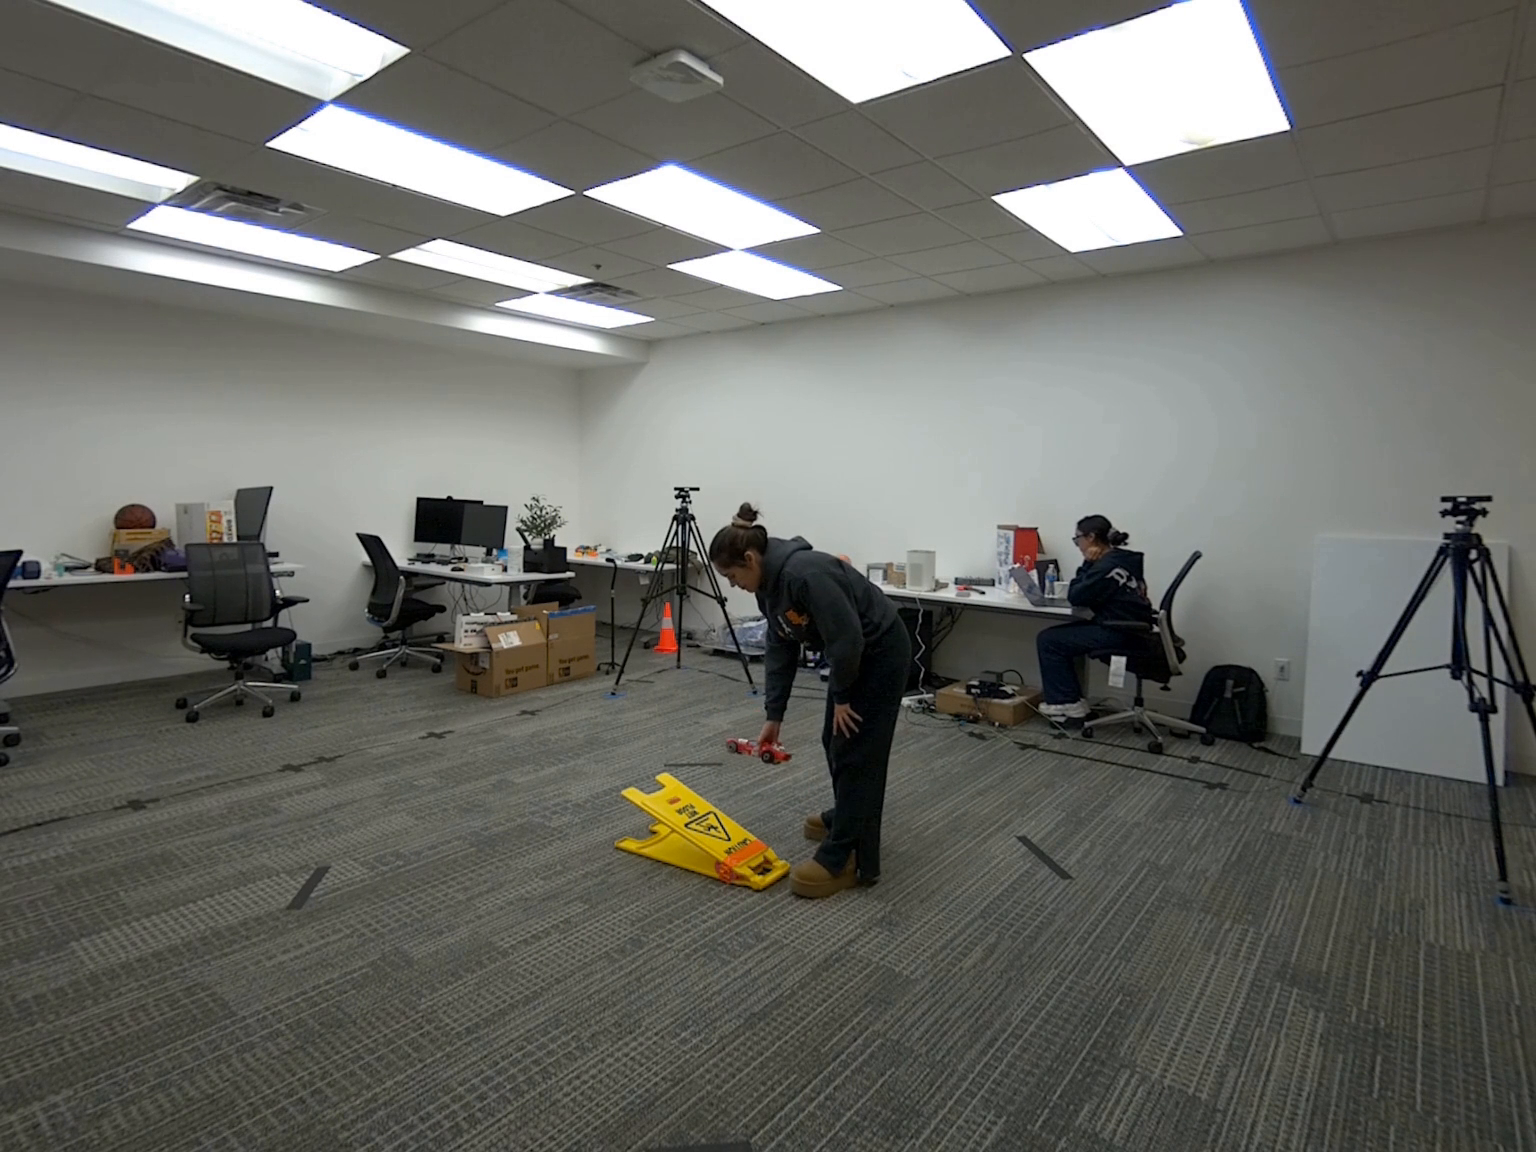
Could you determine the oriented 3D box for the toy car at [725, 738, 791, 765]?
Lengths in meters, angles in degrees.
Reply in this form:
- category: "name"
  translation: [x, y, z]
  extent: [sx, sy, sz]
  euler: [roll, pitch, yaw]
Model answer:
- category: "toy car"
  translation: [-0.033, 0.649, 3.182]
  extent: [0.260, 0.084, 0.126]
  euler: [1, -15, 20]
